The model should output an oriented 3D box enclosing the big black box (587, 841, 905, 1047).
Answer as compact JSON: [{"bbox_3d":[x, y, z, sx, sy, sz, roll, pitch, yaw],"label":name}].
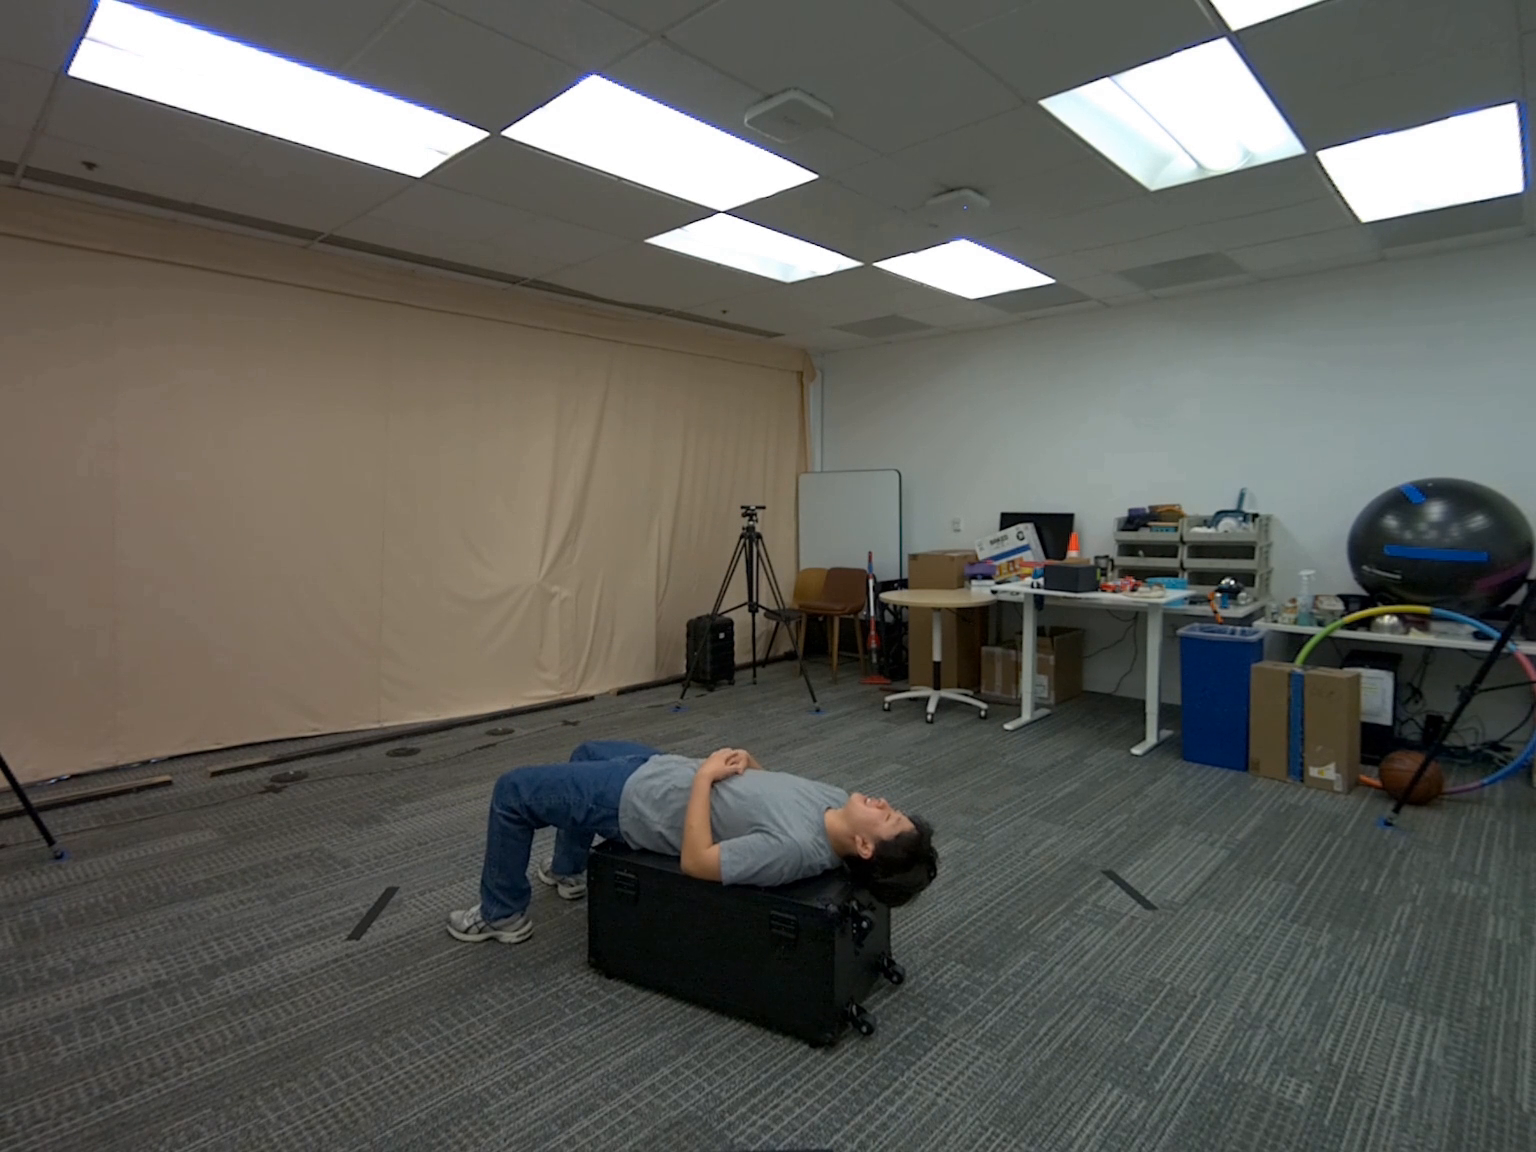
[{"bbox_3d":[-0.053,1.003,2.497,0.885,0.395,0.508,2,4,28],"label":"big black box"}]
